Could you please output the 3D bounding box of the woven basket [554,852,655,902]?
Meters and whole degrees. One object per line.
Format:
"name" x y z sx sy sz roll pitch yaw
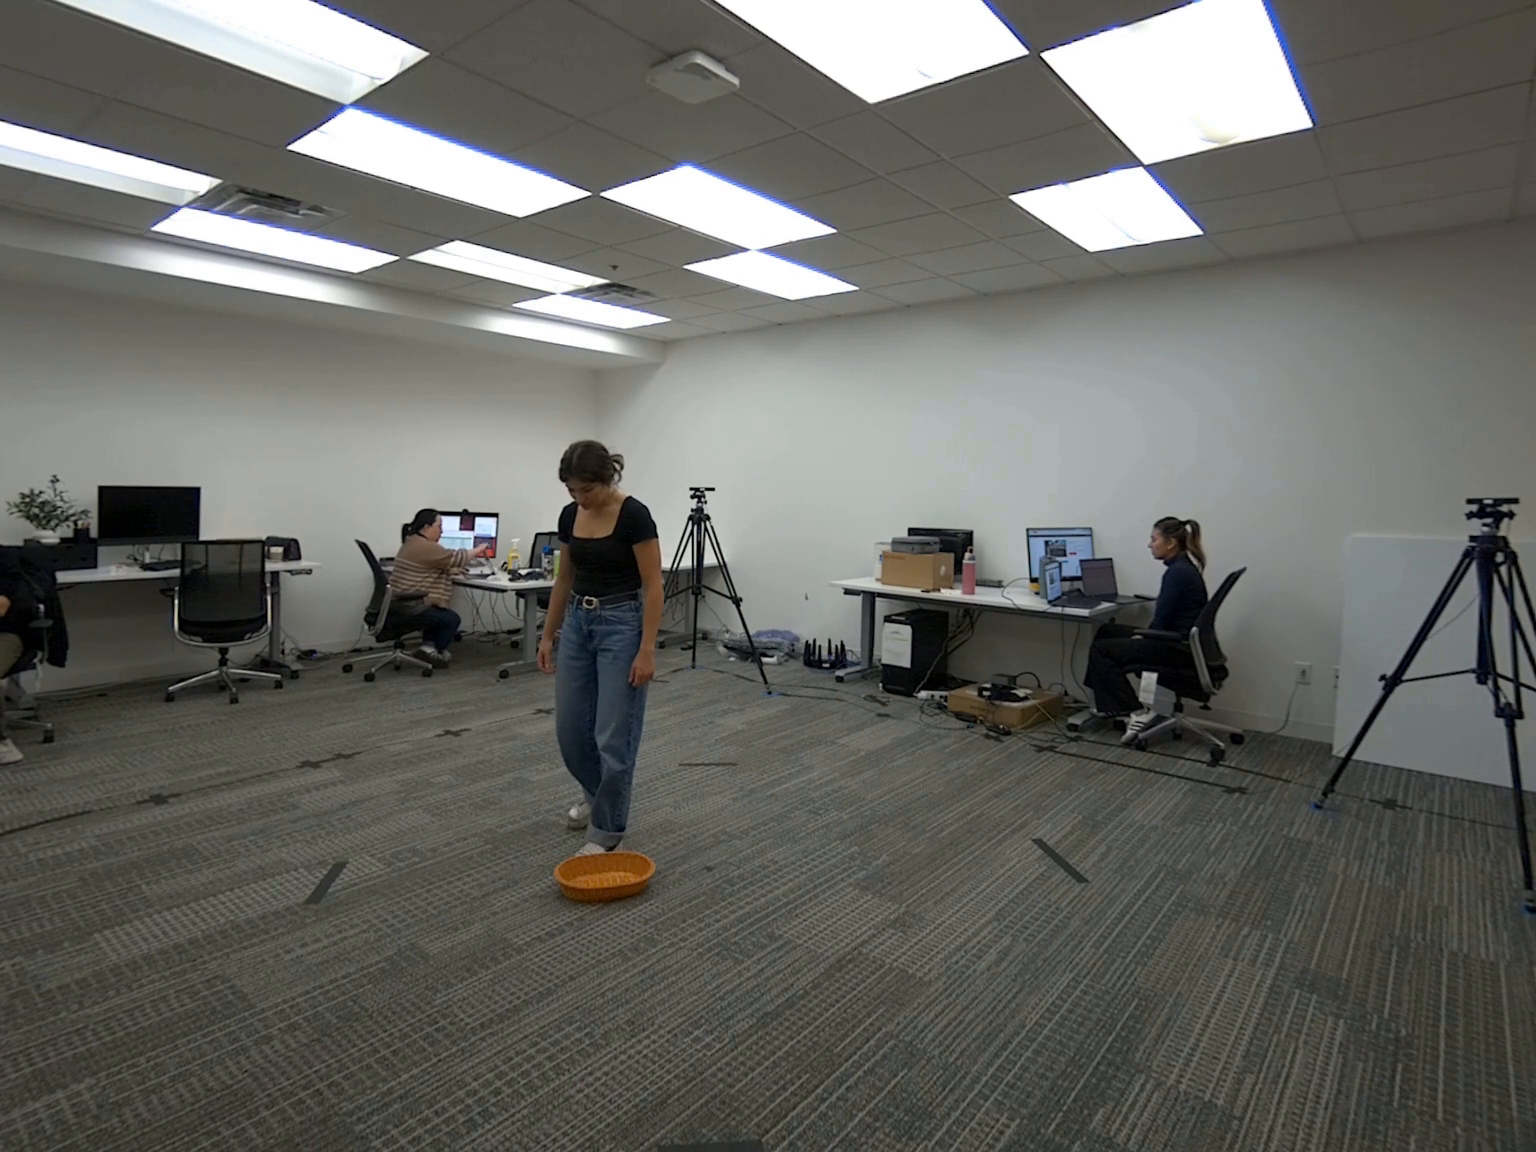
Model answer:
"woven basket" -0.571 1.041 2.934 0.345 0.073 0.258 0 6 -16
